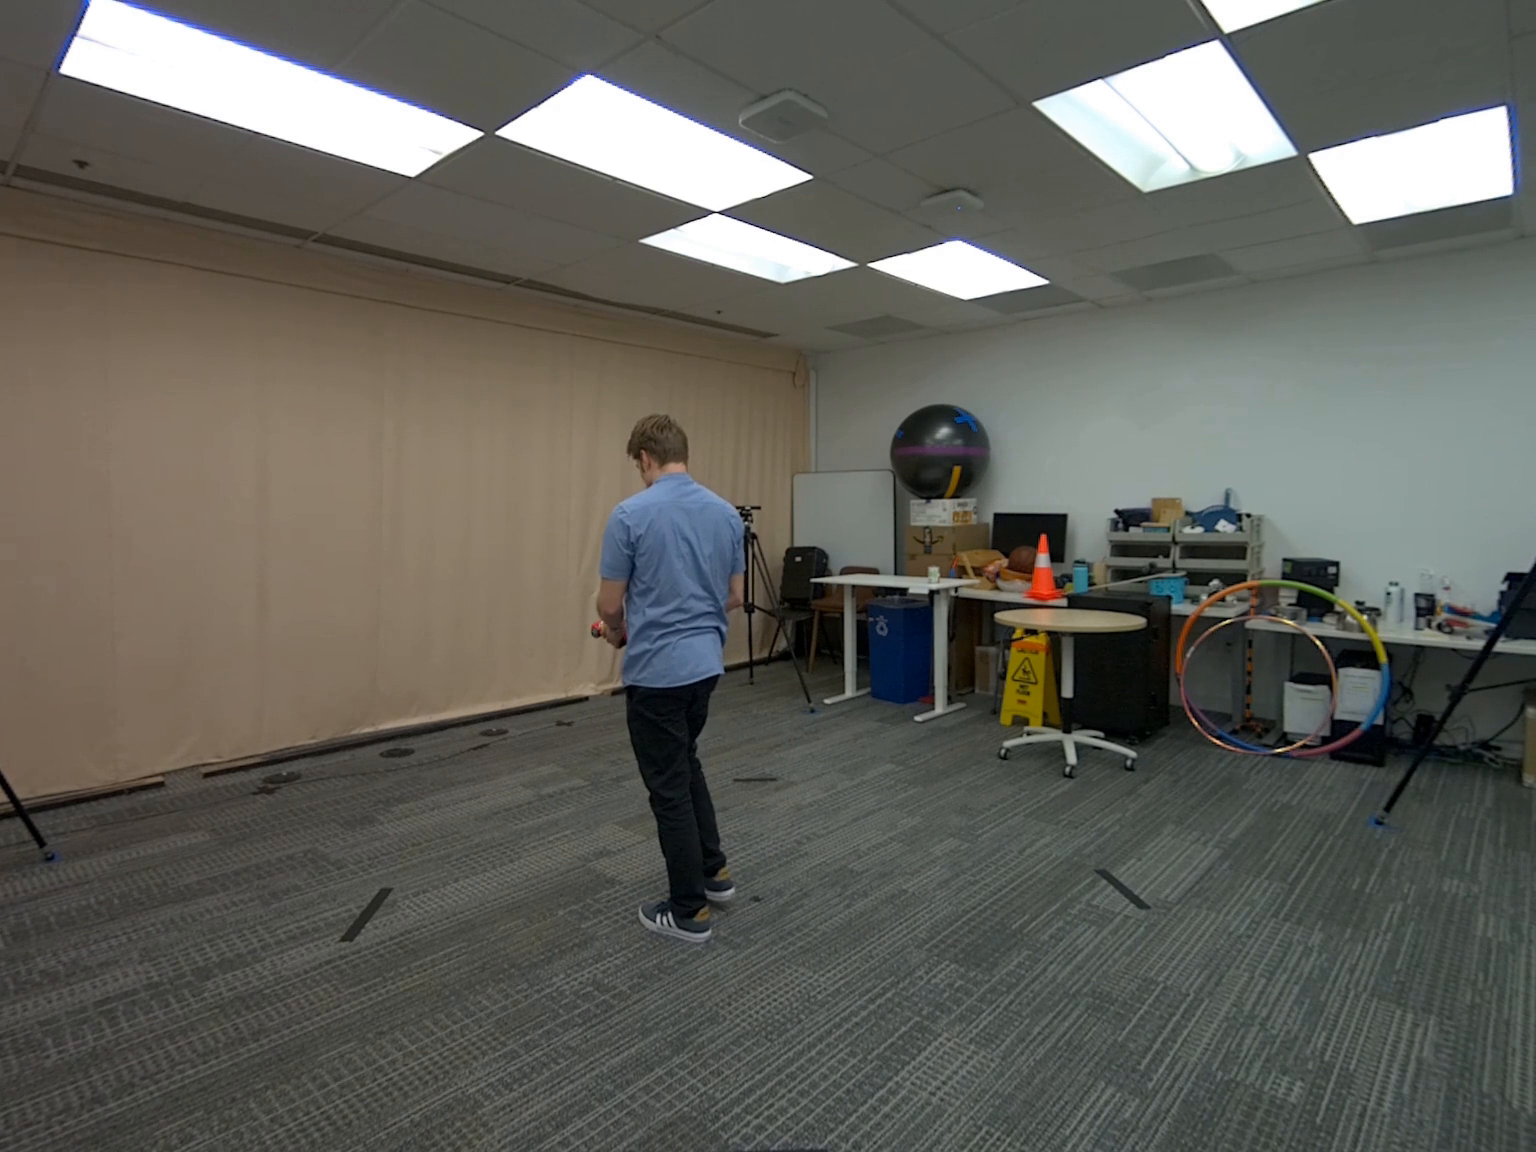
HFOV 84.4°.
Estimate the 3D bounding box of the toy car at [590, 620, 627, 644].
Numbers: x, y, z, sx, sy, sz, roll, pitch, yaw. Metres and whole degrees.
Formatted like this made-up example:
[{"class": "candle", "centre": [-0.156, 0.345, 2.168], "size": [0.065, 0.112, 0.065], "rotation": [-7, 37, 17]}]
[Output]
[{"class": "toy car", "centre": [-0.521, 0.200, 3.048], "size": [0.263, 0.082, 0.127], "rotation": [-1, 12, 44]}]
